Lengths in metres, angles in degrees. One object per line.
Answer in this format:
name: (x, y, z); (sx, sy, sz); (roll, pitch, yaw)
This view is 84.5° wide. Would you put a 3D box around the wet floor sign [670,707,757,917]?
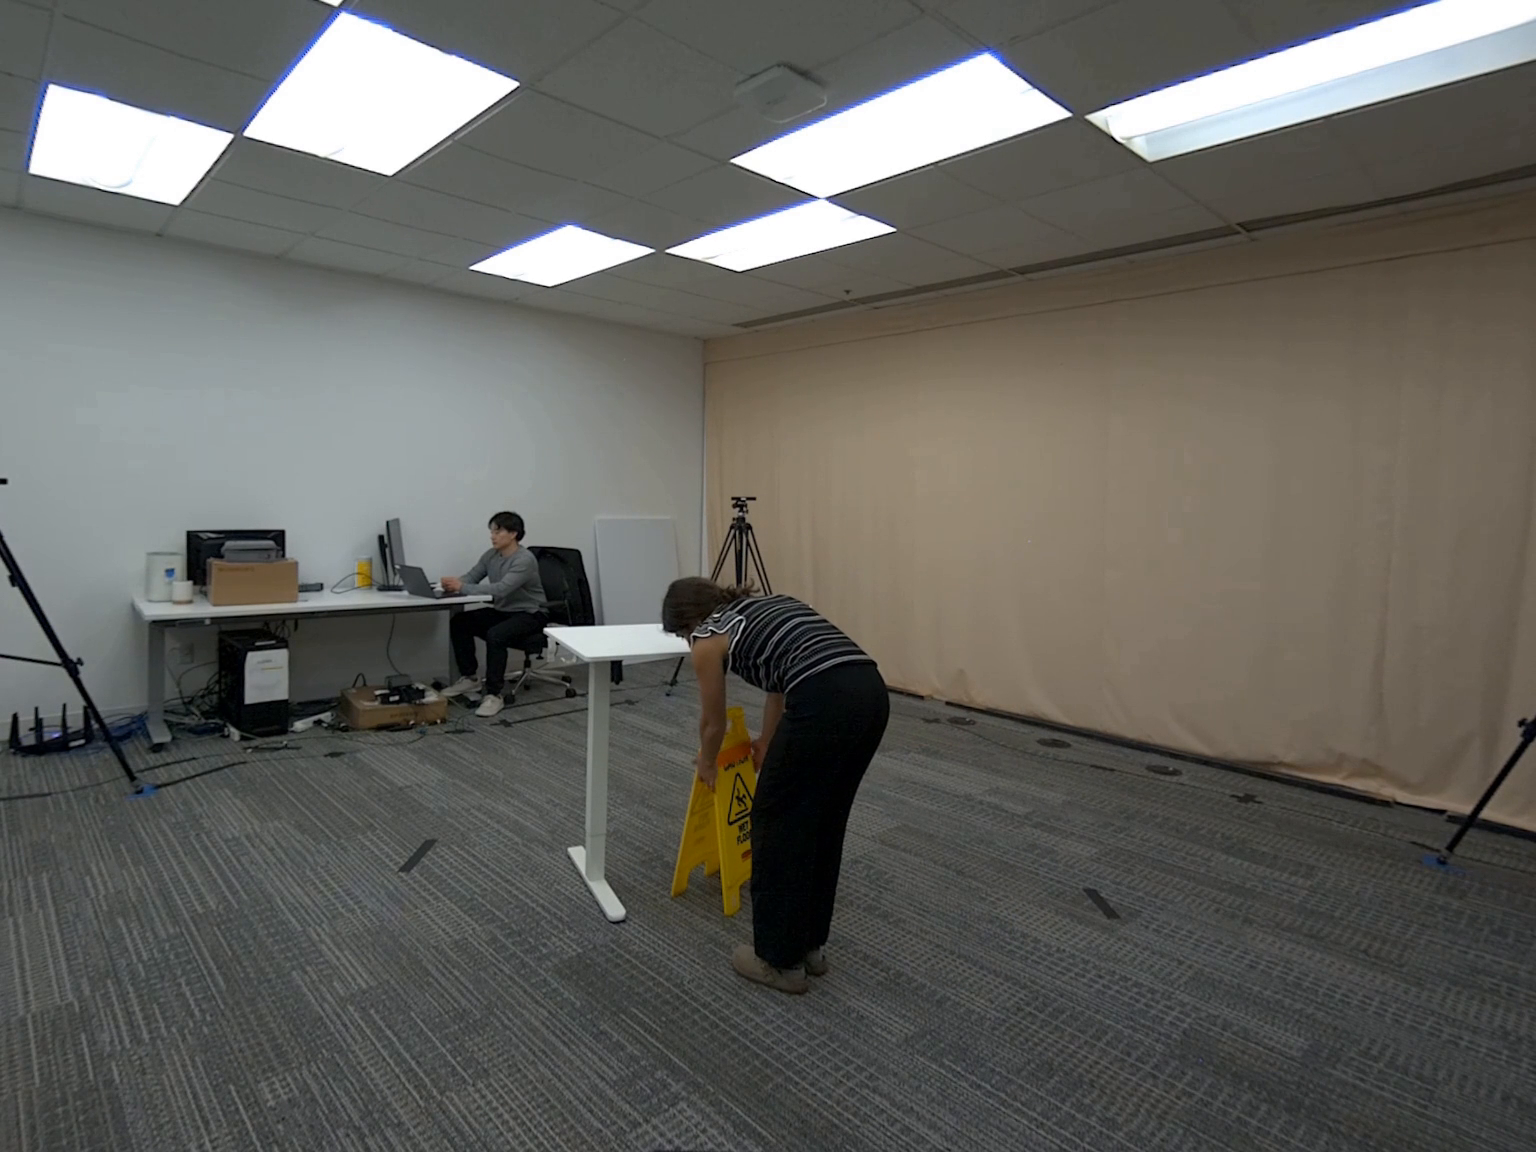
wet floor sign: (-0.165, 0.799, 2.958); (0.296, 0.645, 0.276); (3, 3, 34)
